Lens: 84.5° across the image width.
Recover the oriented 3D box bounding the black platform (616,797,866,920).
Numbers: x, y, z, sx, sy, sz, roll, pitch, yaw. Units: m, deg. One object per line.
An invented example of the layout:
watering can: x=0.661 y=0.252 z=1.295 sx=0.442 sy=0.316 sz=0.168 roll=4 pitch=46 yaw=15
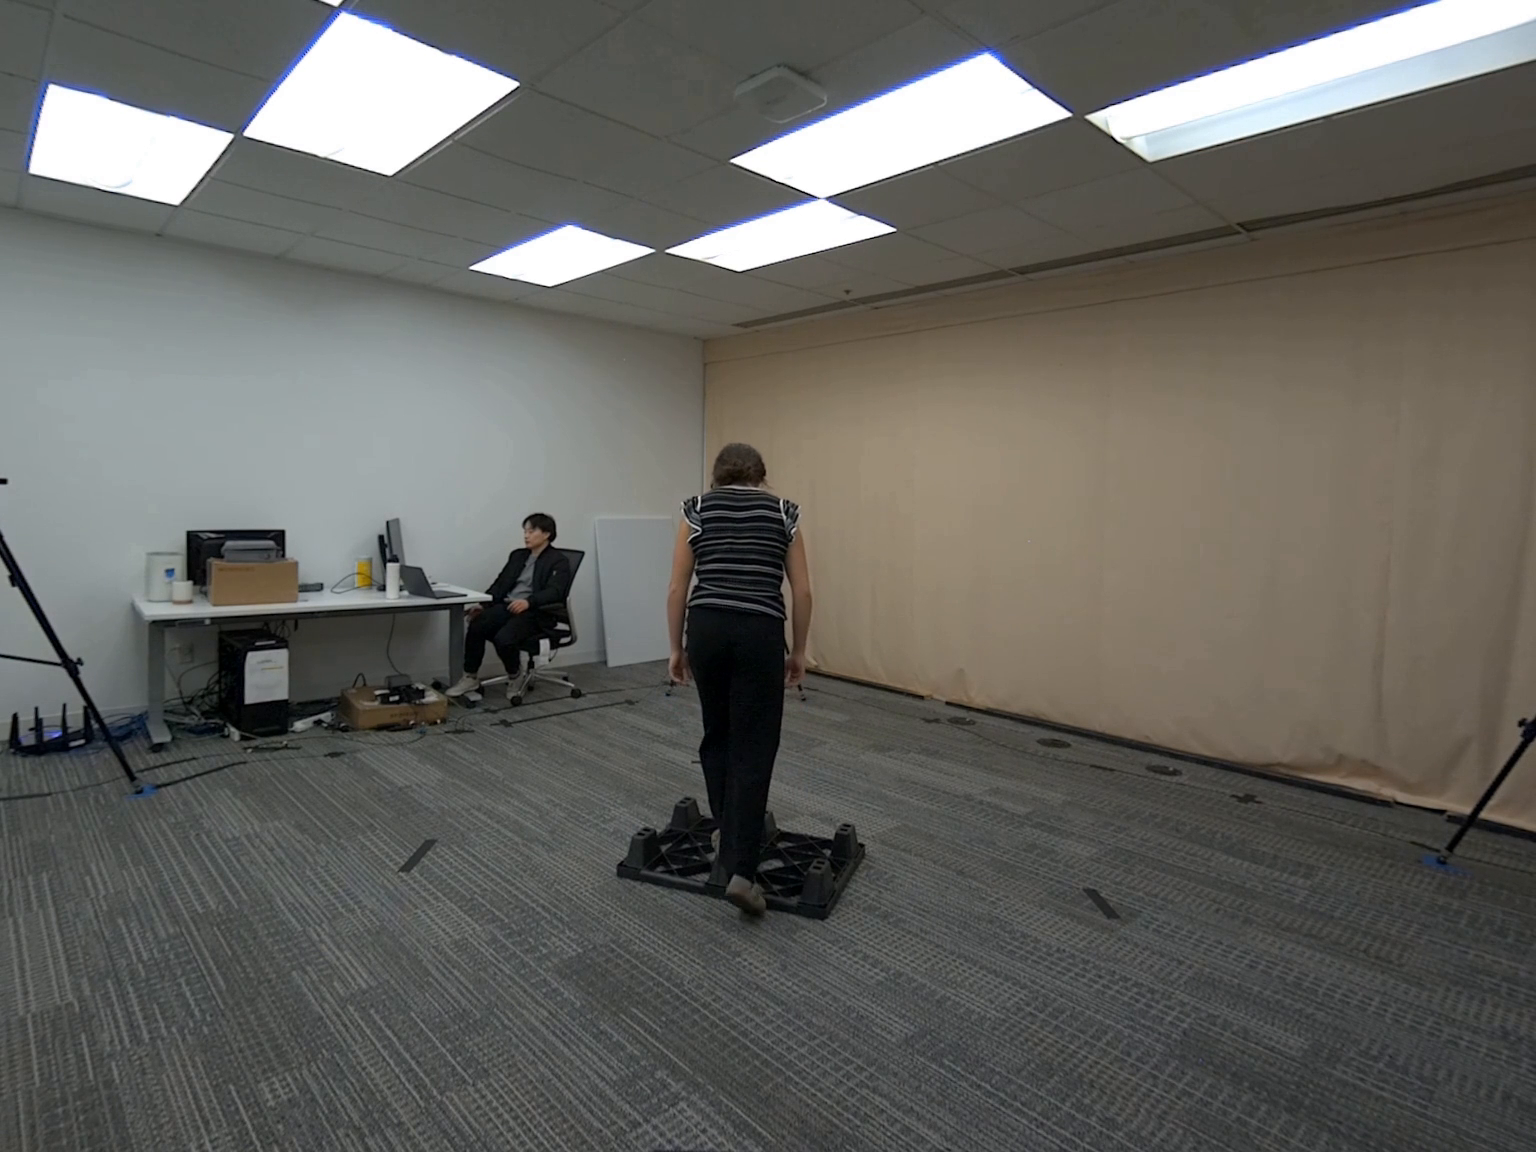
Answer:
black platform: x=-0.096 y=1.035 z=3.199 sx=0.819 sy=0.143 sz=0.597 roll=3 pitch=5 yaw=21
